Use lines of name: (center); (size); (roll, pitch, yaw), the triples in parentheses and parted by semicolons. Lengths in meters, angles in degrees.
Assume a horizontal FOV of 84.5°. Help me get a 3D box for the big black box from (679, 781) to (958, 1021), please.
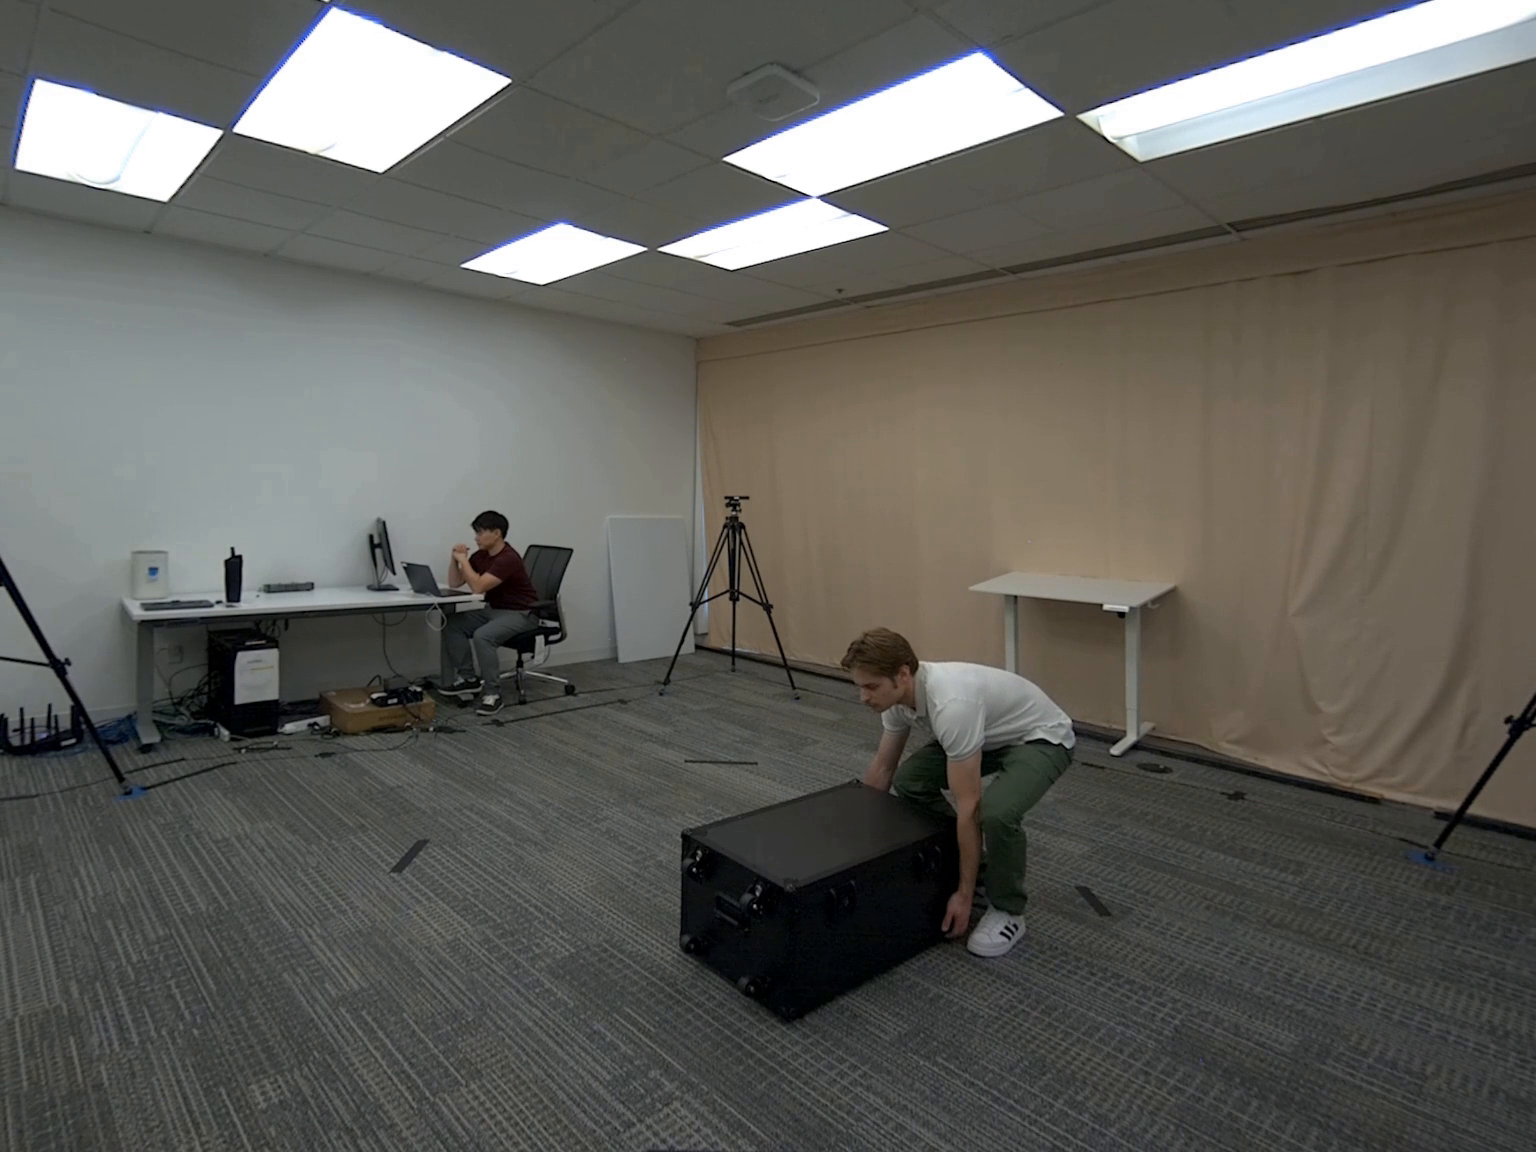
big black box: (0.143, 0.969, 2.605); (0.841, 0.395, 0.535); (-2, 6, -42)
